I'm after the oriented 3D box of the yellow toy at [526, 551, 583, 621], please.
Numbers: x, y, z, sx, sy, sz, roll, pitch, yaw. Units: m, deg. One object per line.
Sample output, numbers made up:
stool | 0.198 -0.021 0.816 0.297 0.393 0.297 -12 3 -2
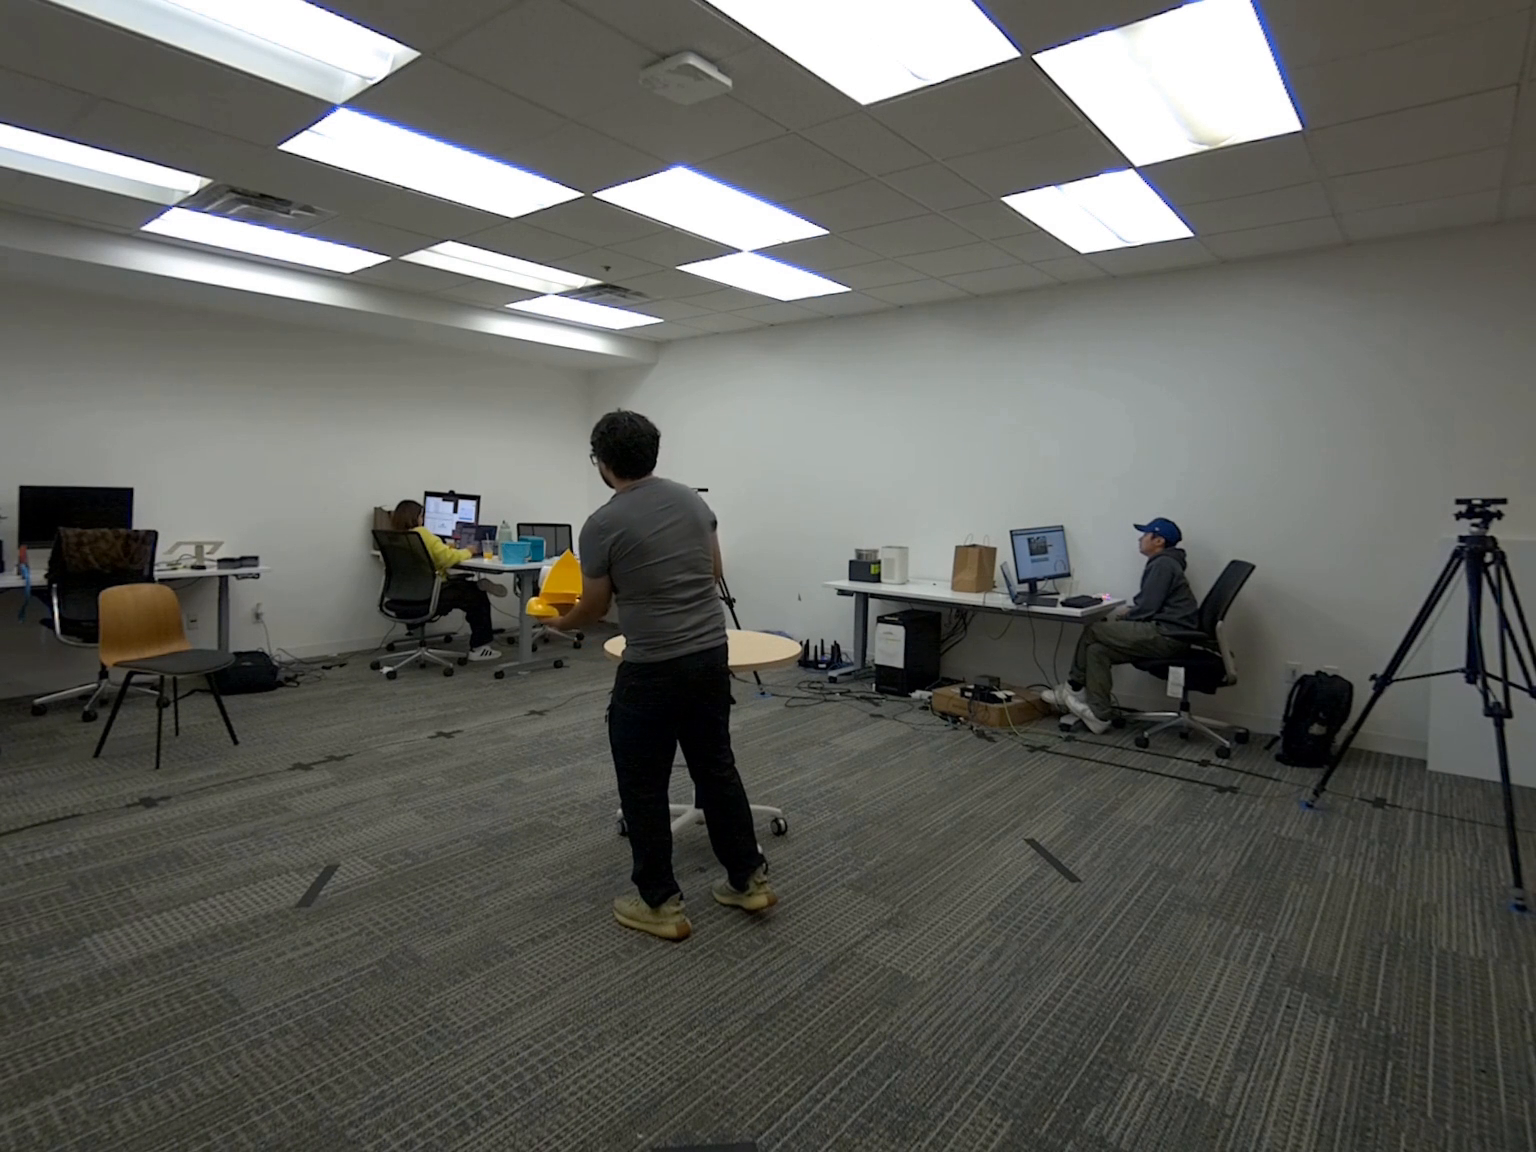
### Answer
yellow toy | -0.745 0.020 2.975 0.198 0.231 0.199 5 -2 -39
